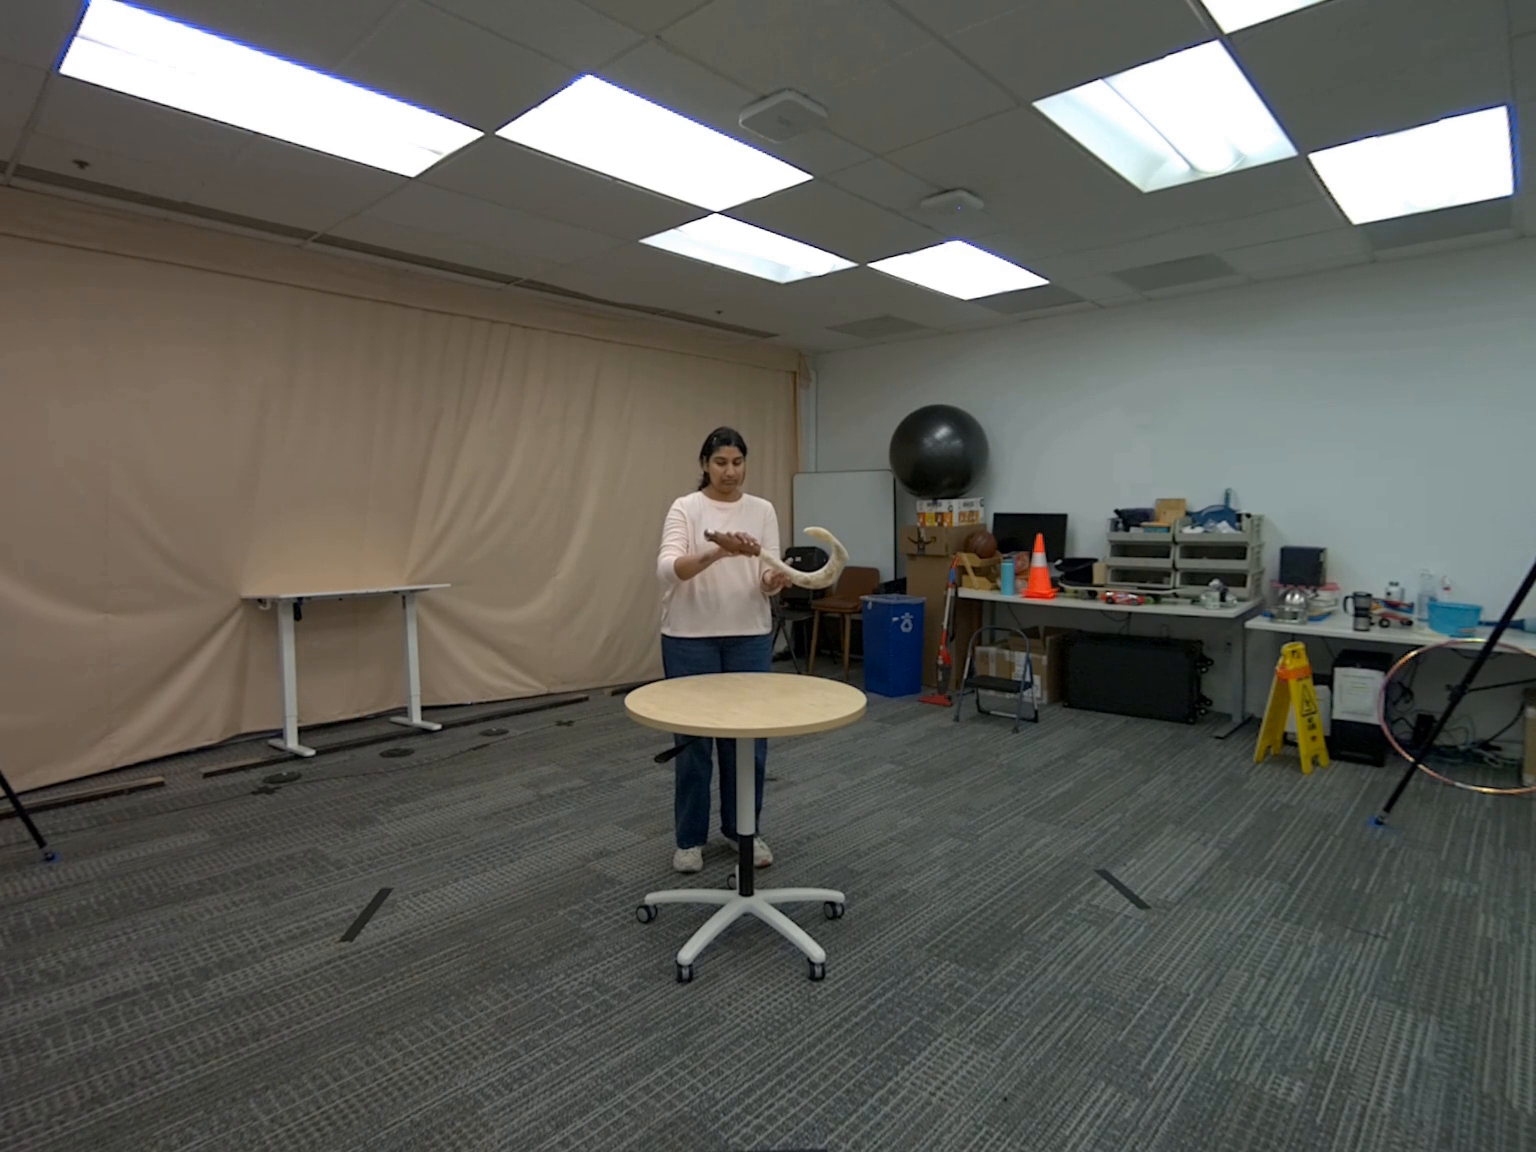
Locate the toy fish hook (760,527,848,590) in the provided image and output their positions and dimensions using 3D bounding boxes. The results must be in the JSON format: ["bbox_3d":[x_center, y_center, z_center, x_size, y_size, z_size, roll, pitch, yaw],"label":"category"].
[{"bbox_3d":[0.024,-0.093,2.858,0.499,0.224,0.049,19,19,-12],"label":"toy fish hook"}]
